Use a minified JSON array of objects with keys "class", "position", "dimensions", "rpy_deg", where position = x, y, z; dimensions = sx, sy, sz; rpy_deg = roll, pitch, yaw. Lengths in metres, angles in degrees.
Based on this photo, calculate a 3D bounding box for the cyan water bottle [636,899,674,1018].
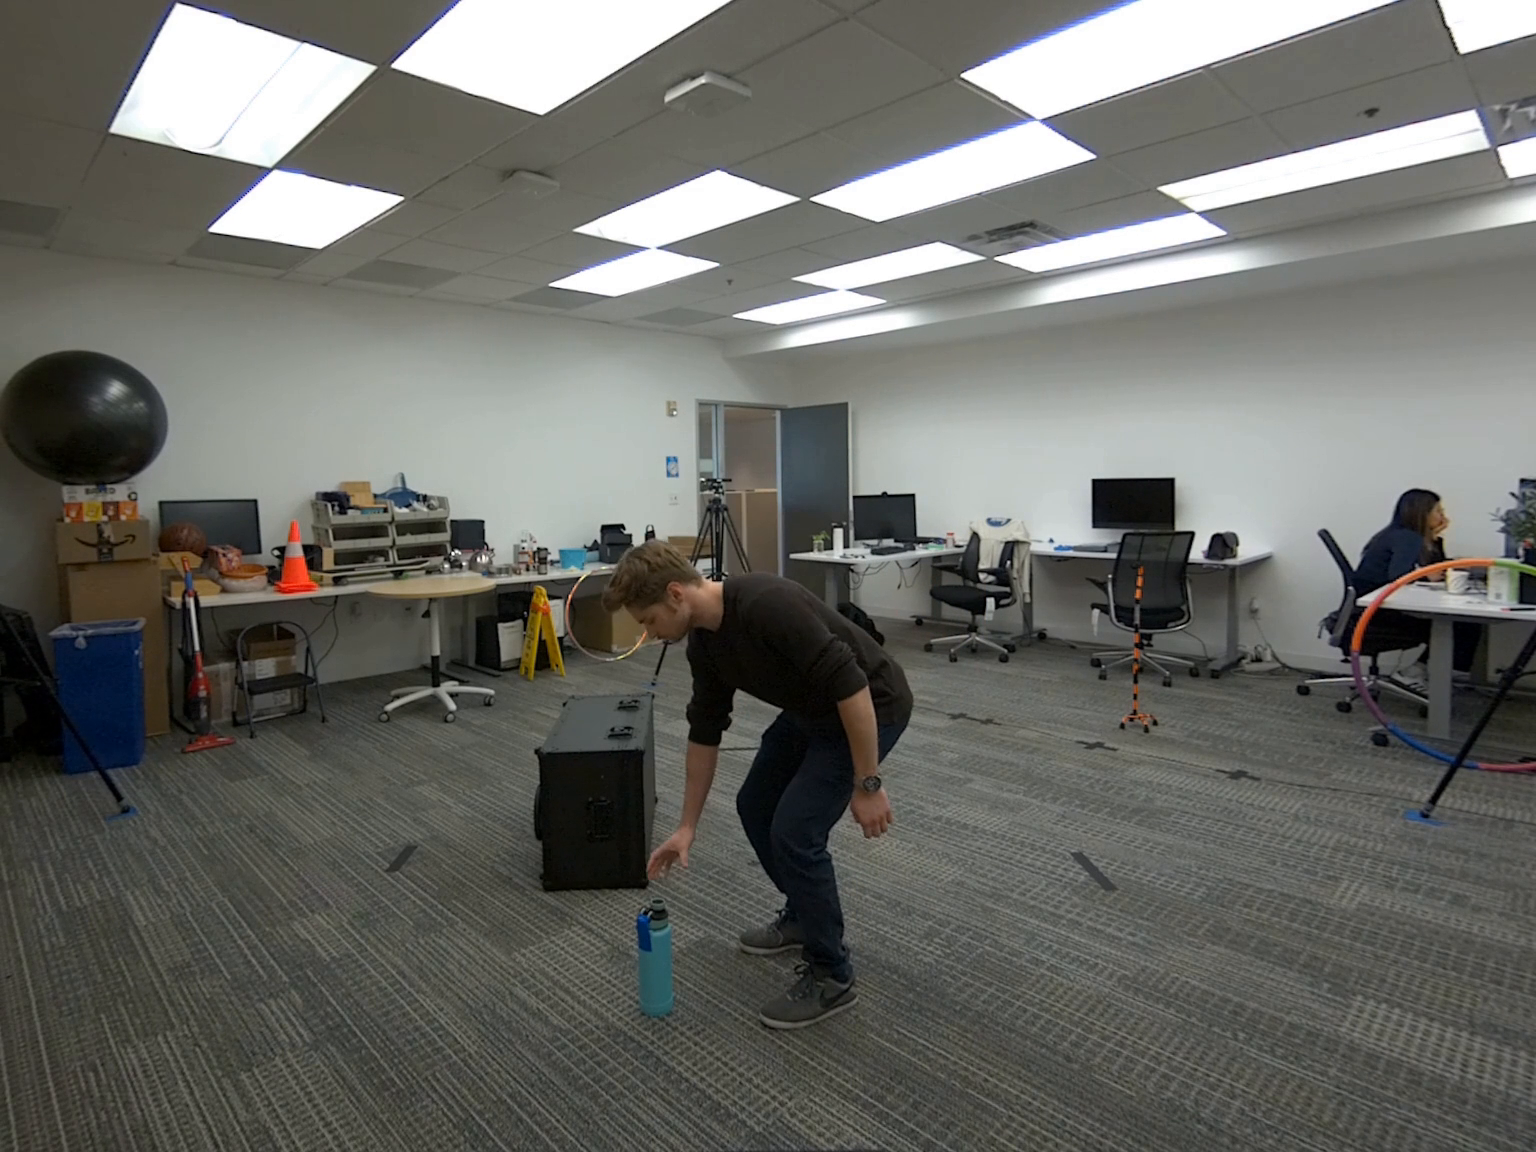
[{"class":"cyan water bottle","position":[-0.298,1.013,2.262],"dimensions":[0.092,0.282,0.093],"rpy_deg":[-3,6,-1]}]
